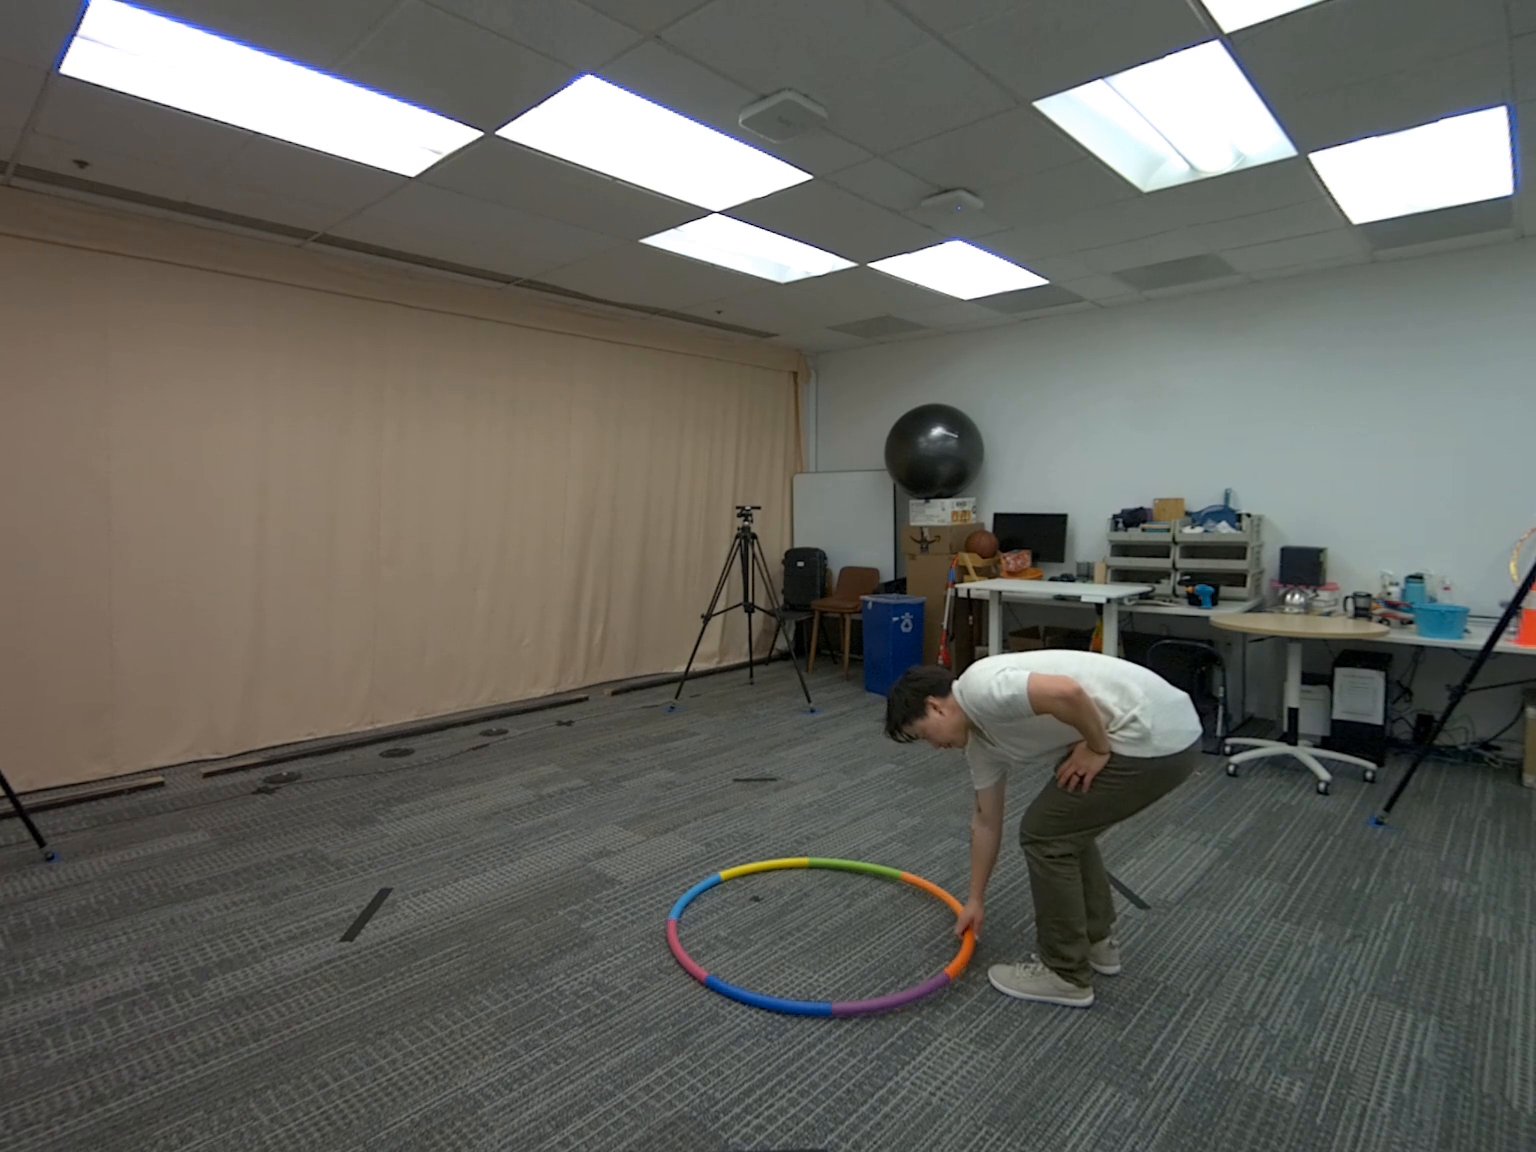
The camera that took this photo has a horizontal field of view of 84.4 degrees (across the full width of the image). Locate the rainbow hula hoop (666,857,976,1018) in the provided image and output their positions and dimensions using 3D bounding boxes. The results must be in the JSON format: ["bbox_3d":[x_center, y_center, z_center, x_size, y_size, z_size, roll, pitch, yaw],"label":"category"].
[{"bbox_3d":[0.166,1.111,2.759,0.978,0.035,0.982,-3,4,-2],"label":"rainbow hula hoop"}]
